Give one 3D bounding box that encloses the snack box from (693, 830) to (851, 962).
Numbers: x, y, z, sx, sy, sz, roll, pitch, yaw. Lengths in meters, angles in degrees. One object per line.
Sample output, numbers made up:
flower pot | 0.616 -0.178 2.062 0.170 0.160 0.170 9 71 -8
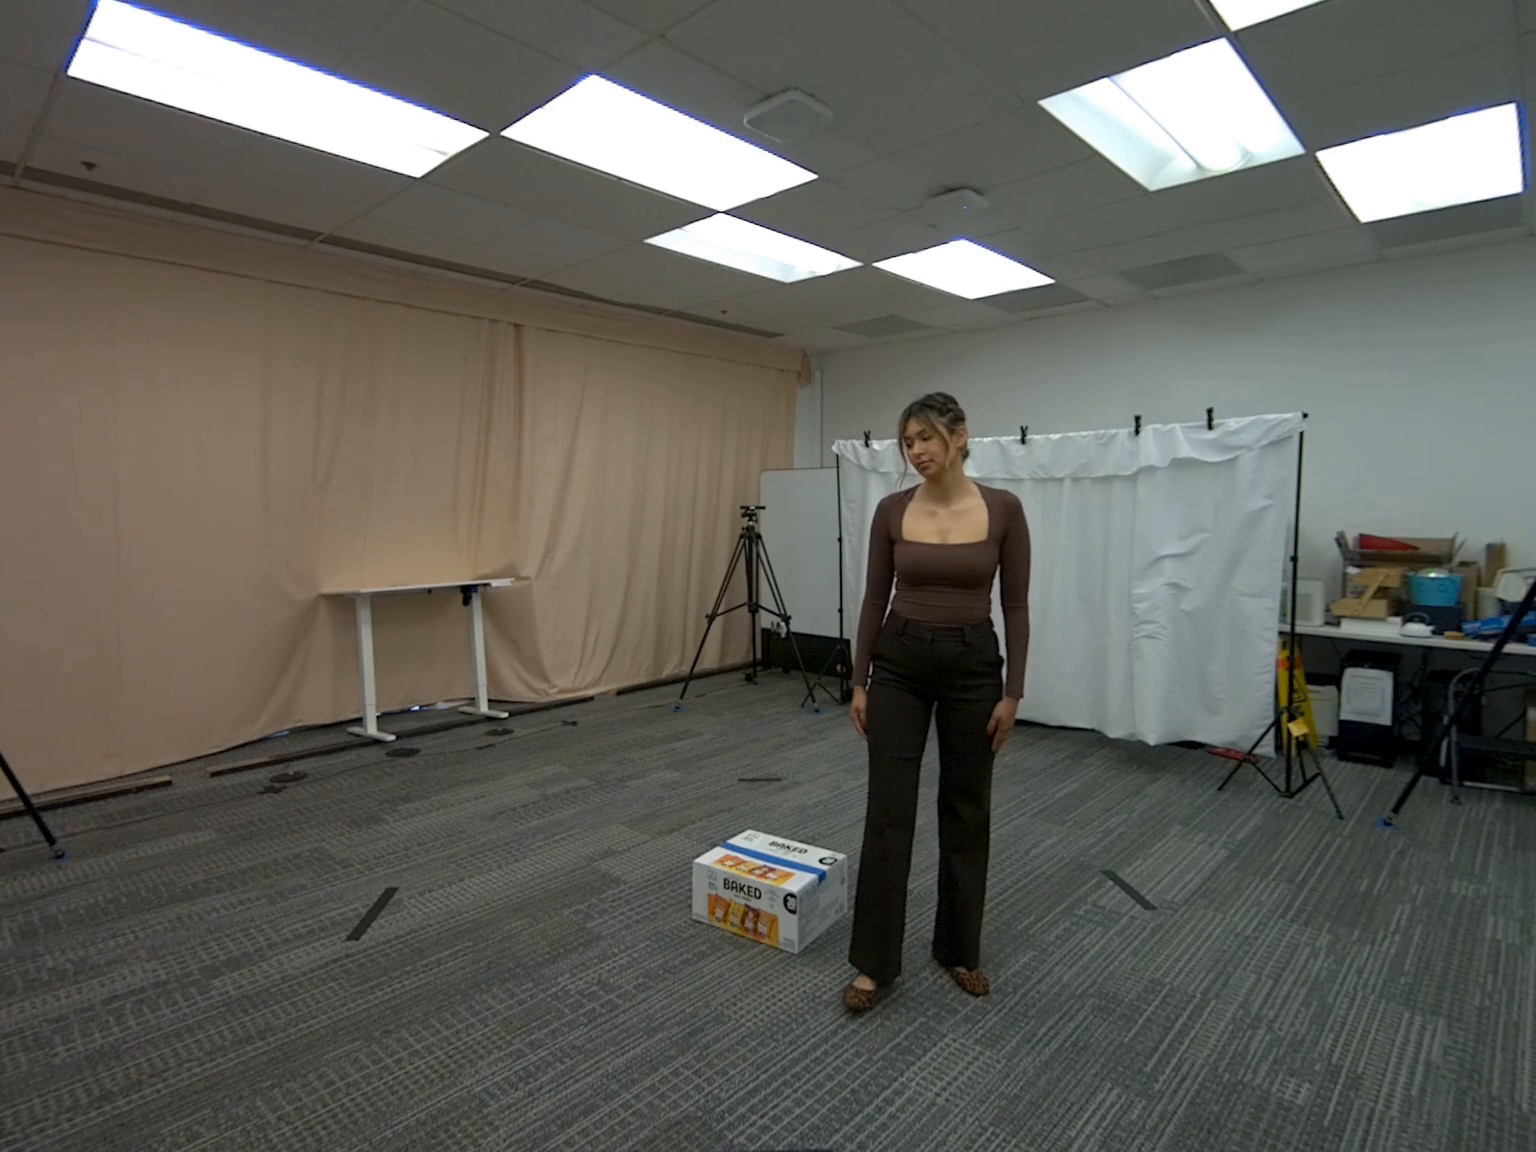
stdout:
snack box | 0.014 1.054 2.845 0.418 0.205 0.331 3 5 34
